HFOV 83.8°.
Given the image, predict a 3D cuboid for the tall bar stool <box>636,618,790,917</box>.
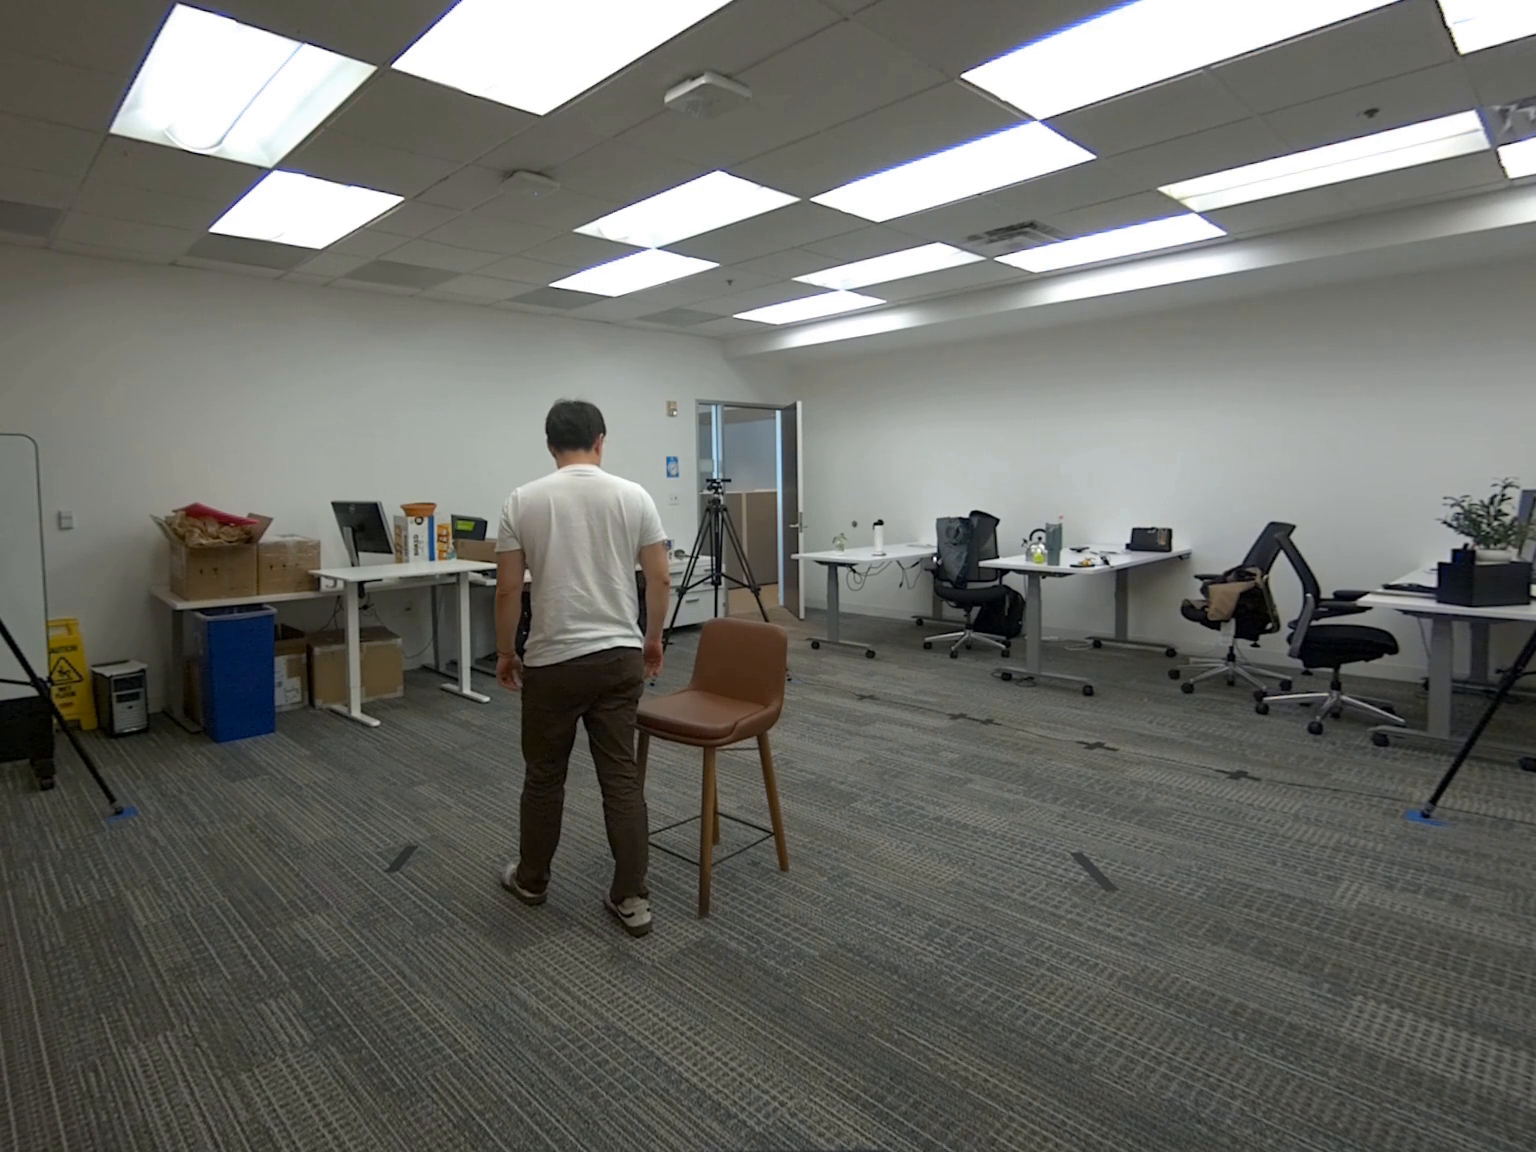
[{"bbox_3d":[-0.211,0.626,2.995,0.470,0.887,0.455,3,4,43],"label":"tall bar stool"}]
